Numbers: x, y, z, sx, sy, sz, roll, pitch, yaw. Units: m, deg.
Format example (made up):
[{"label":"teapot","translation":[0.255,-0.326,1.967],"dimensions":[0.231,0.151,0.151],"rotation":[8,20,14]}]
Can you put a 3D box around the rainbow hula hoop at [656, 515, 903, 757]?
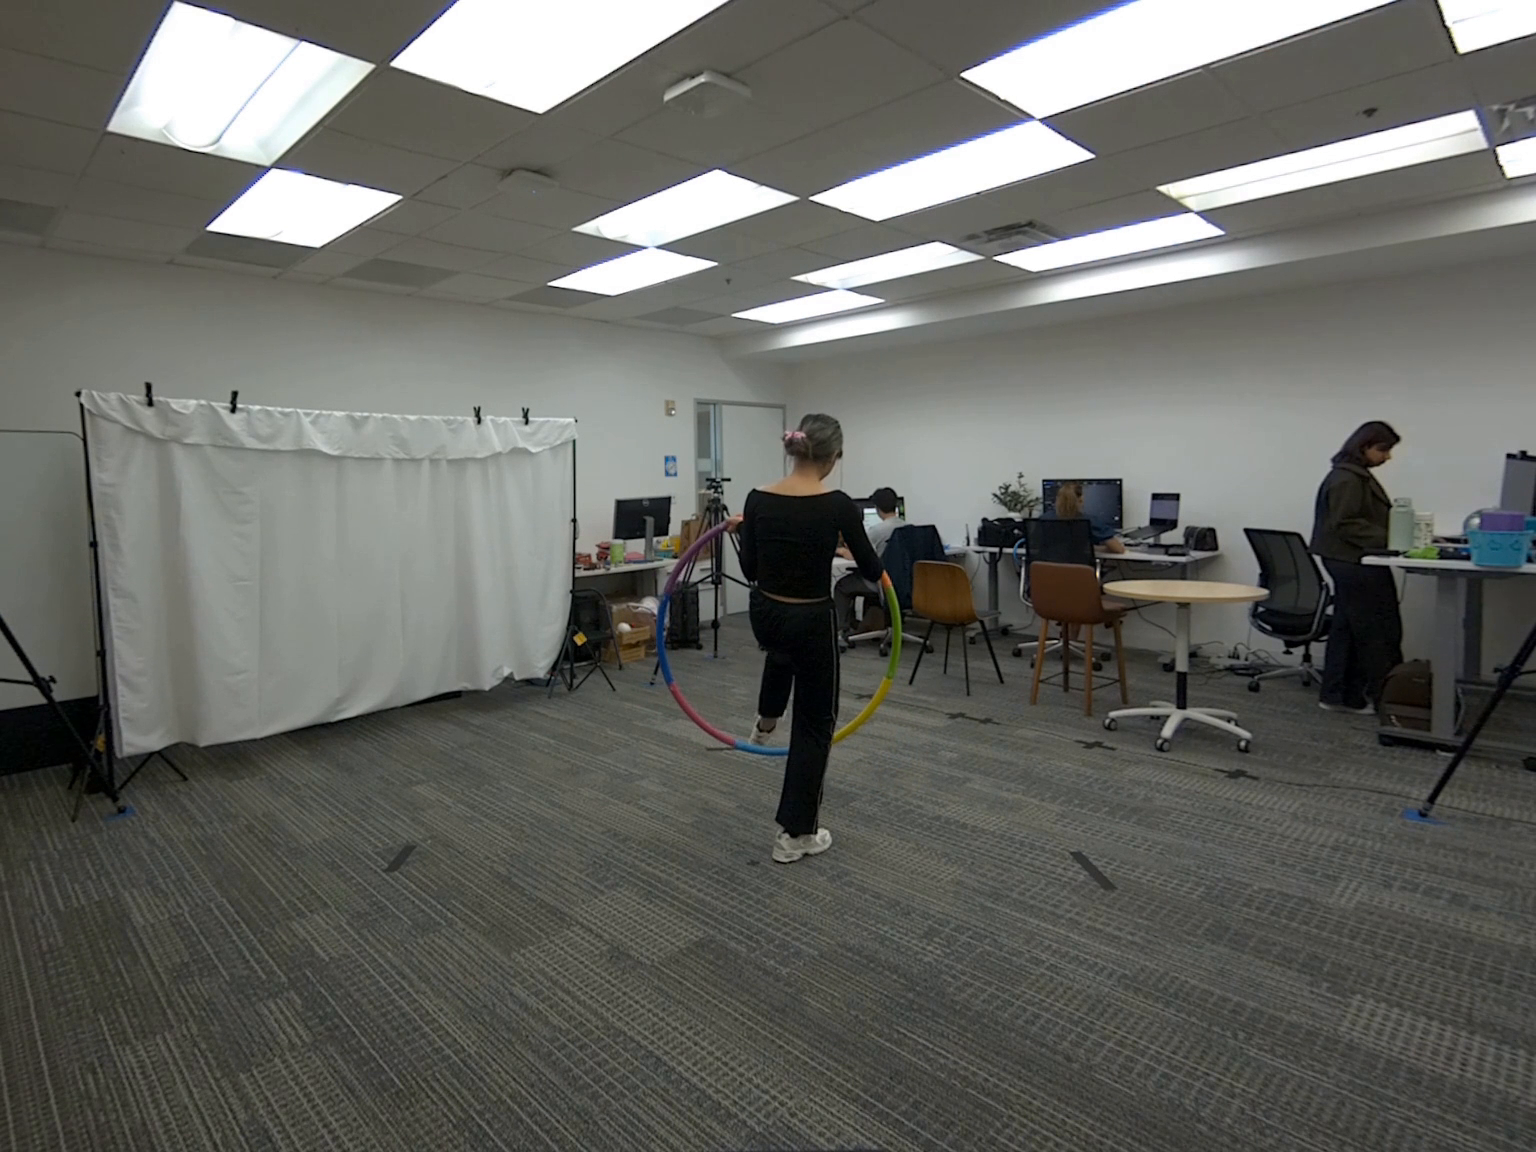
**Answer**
[{"label":"rainbow hula hoop","translation":[0.033,0.240,3.386],"dimensions":[0.983,0.971,0.035],"rotation":[0,8,5]}]
